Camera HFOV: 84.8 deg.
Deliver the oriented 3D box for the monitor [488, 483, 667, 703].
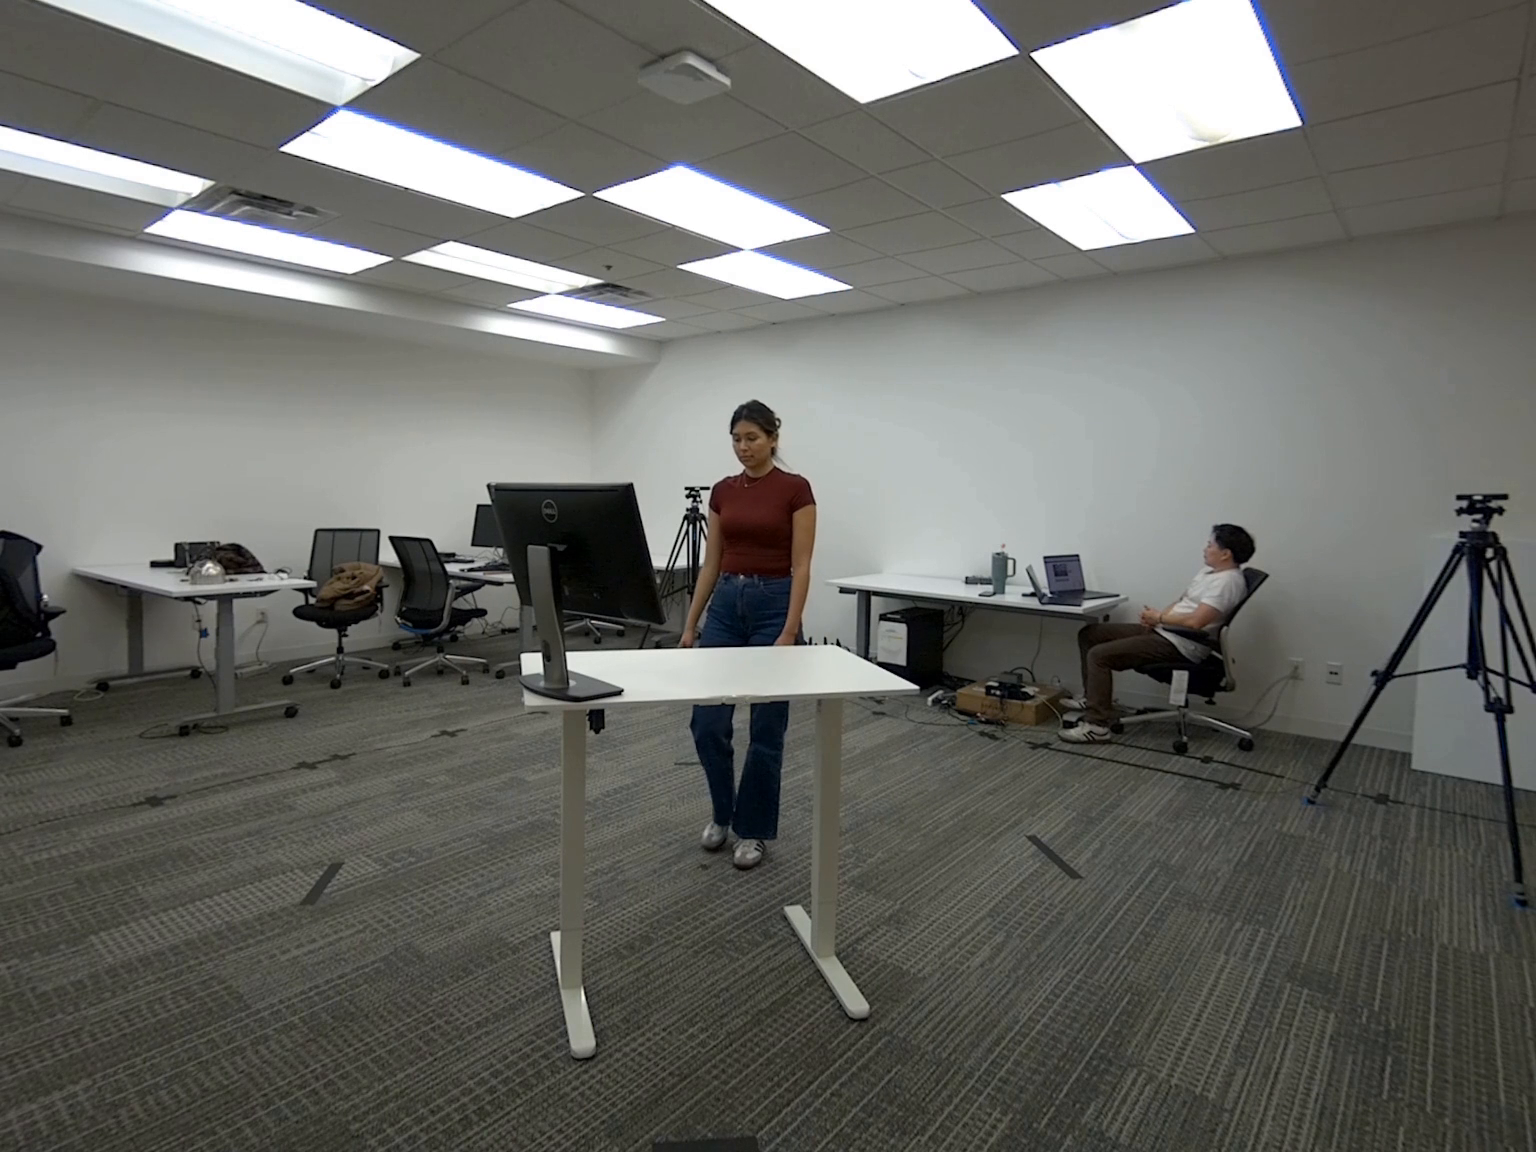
[{"bbox_3d":[-0.518,0.028,2.107,0.556,0.519,0.182,3,8,36],"label":"monitor"}]
